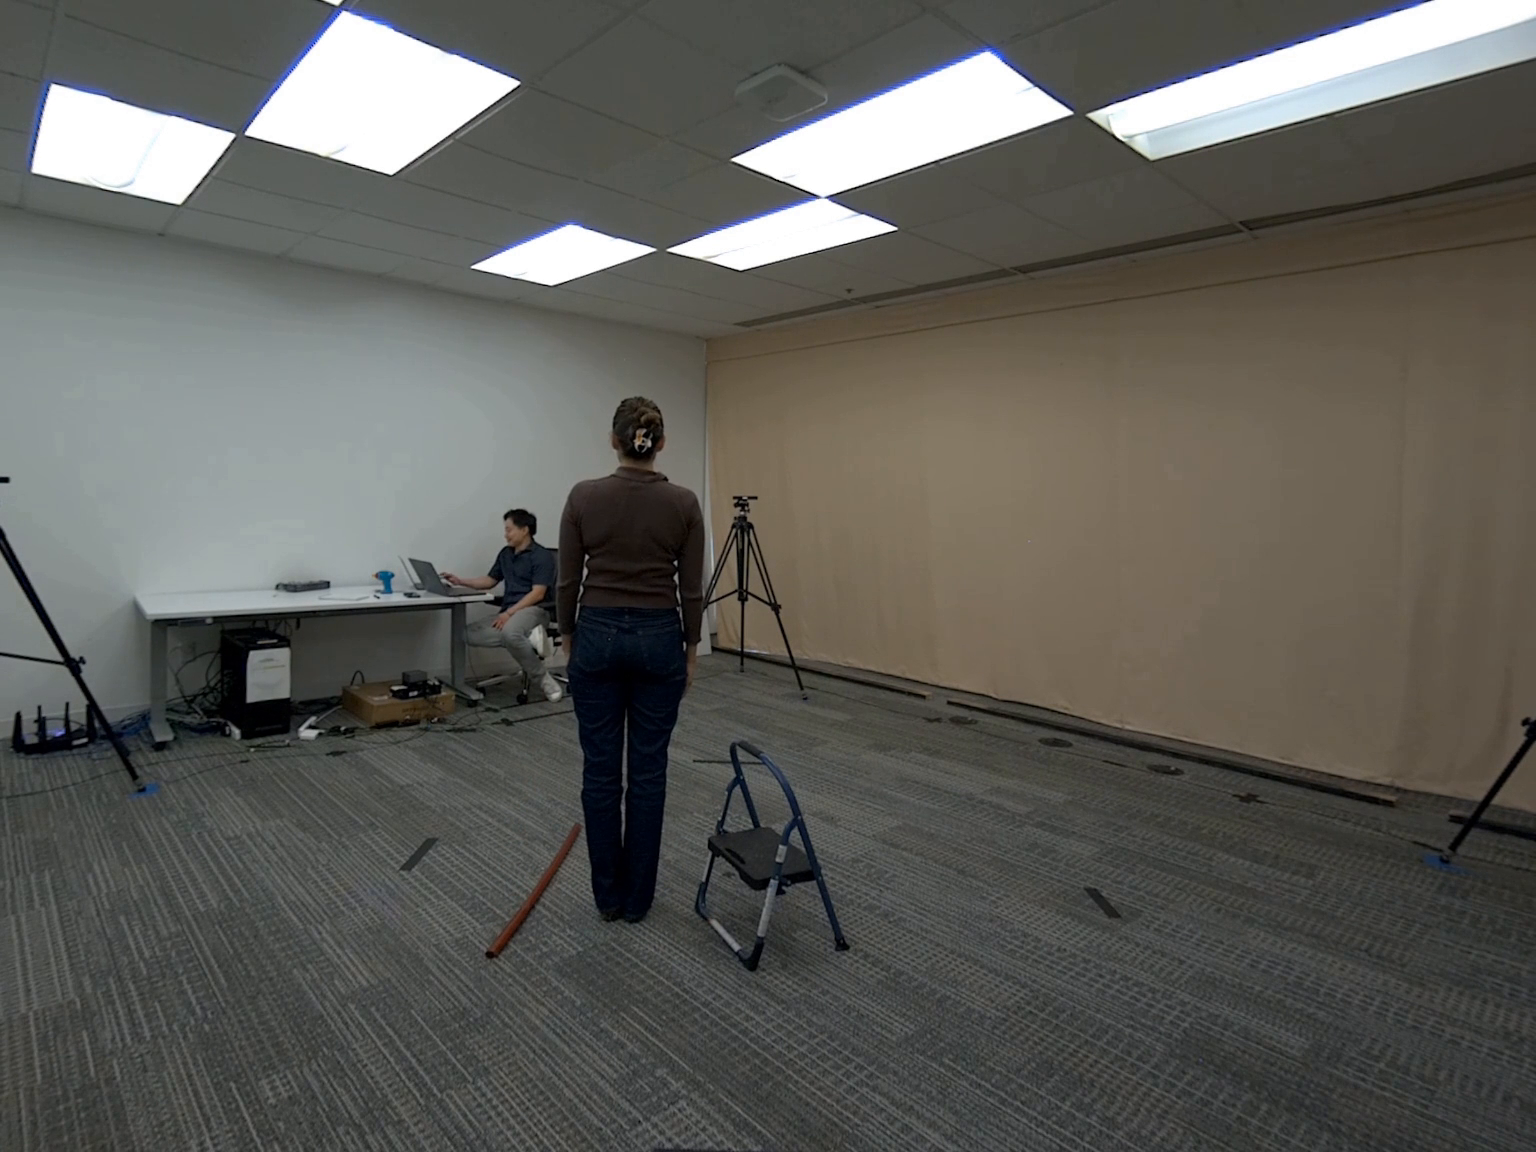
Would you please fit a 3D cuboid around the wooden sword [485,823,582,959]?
[{"bbox_3d":[-0.790,1.068,3.016,0.024,0.051,1.025,-35,4,6],"label":"wooden sword"}]
